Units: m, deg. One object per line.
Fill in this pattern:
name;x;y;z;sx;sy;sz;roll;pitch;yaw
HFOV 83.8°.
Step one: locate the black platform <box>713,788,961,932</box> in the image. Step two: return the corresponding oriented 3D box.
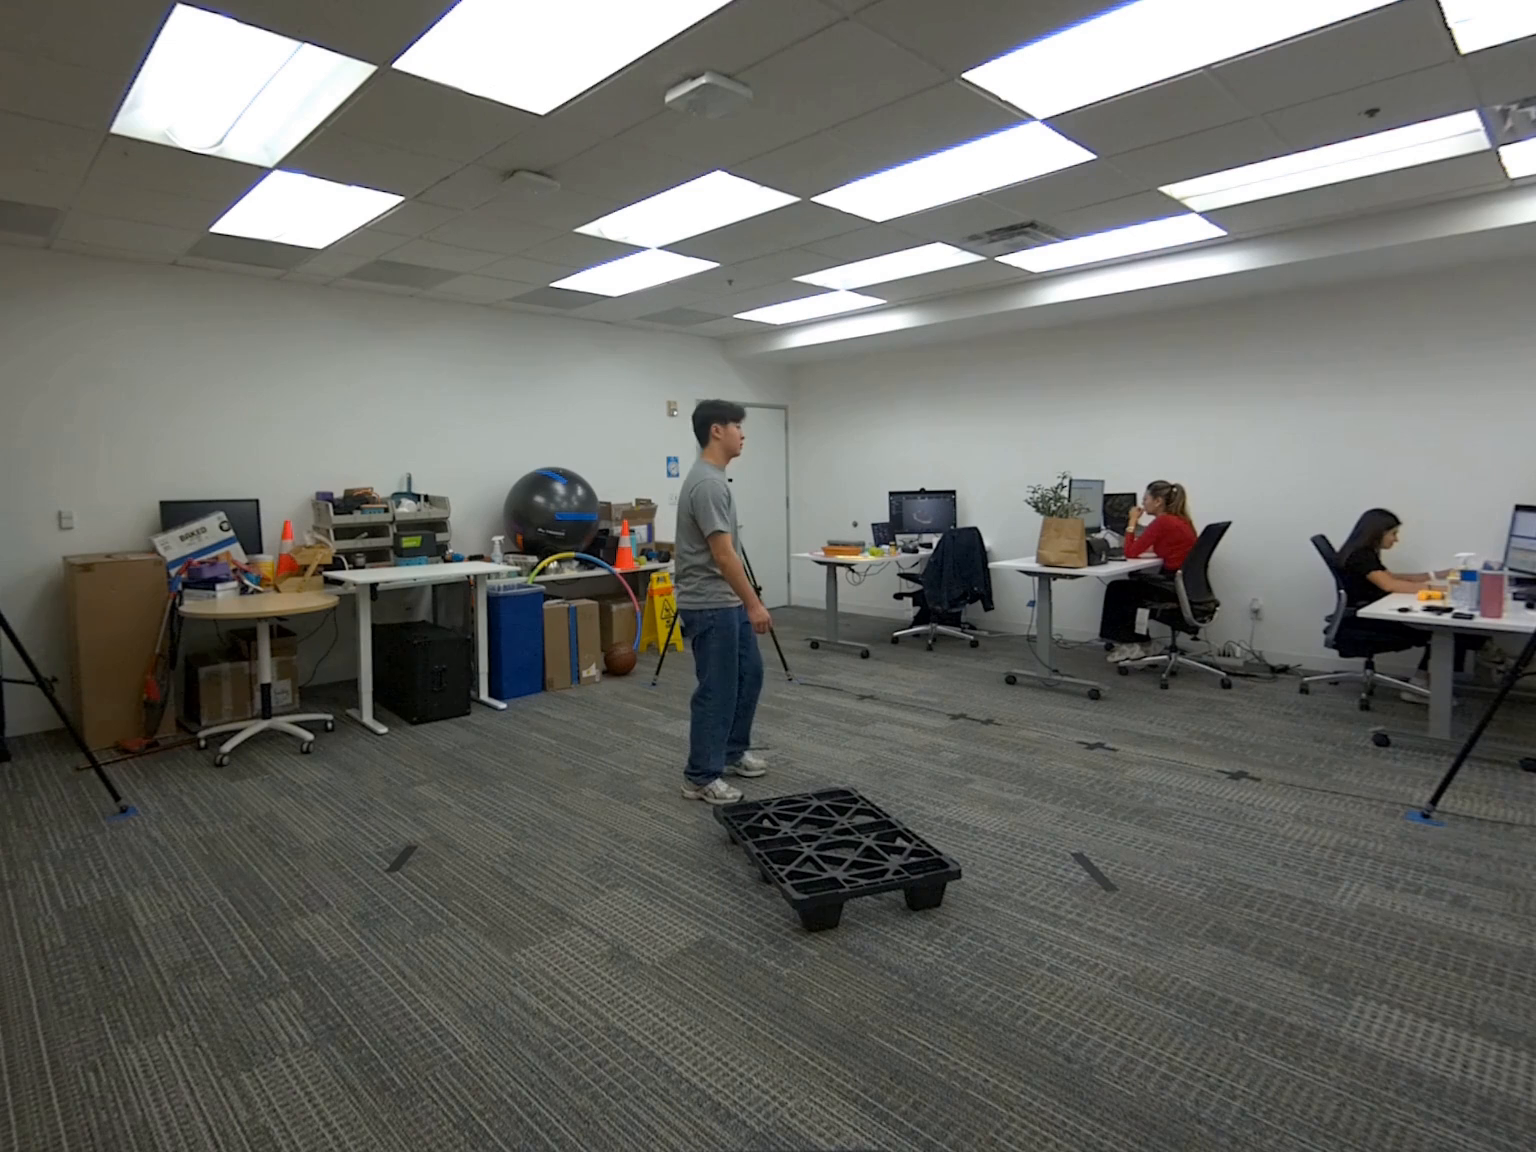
black platform;0.207;0.981;3.031;0.595;0.143;0.823;-4;7;-20
